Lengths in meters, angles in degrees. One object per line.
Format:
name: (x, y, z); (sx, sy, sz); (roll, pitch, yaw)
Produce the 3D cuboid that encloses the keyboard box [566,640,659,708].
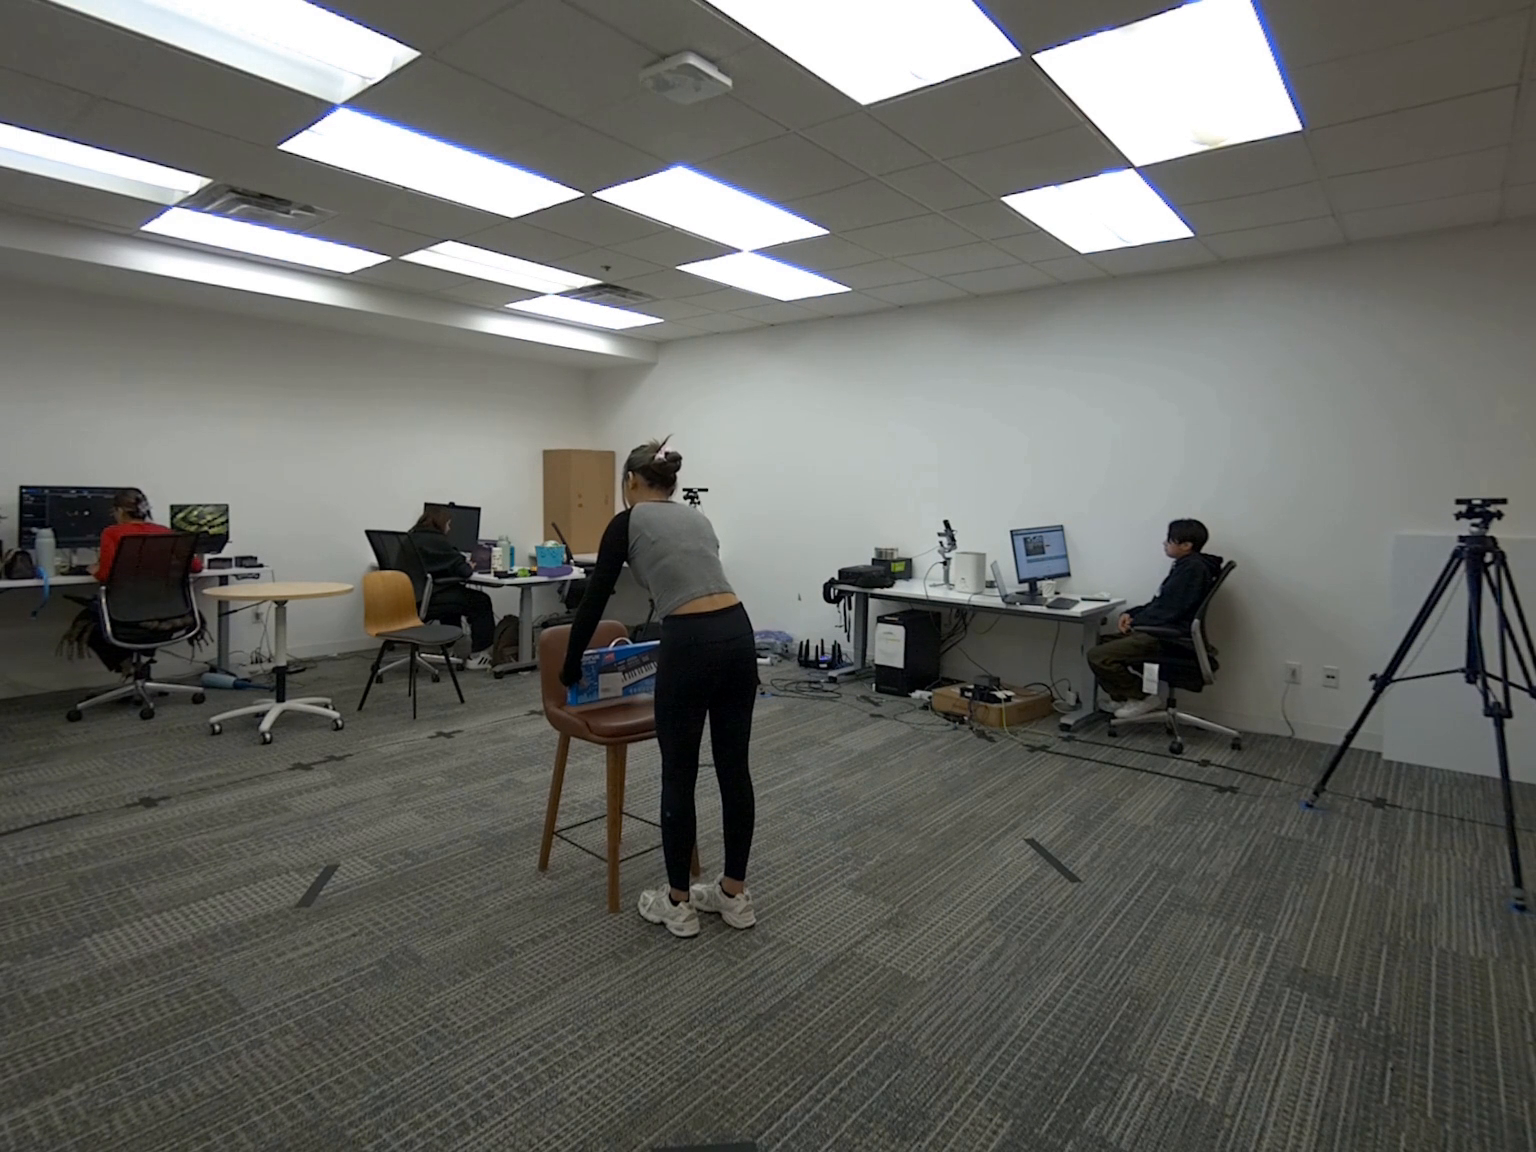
keyboard box: (-0.537, 0.342, 3.044); (0.061, 0.176, 0.424); (-2, 2, 44)
